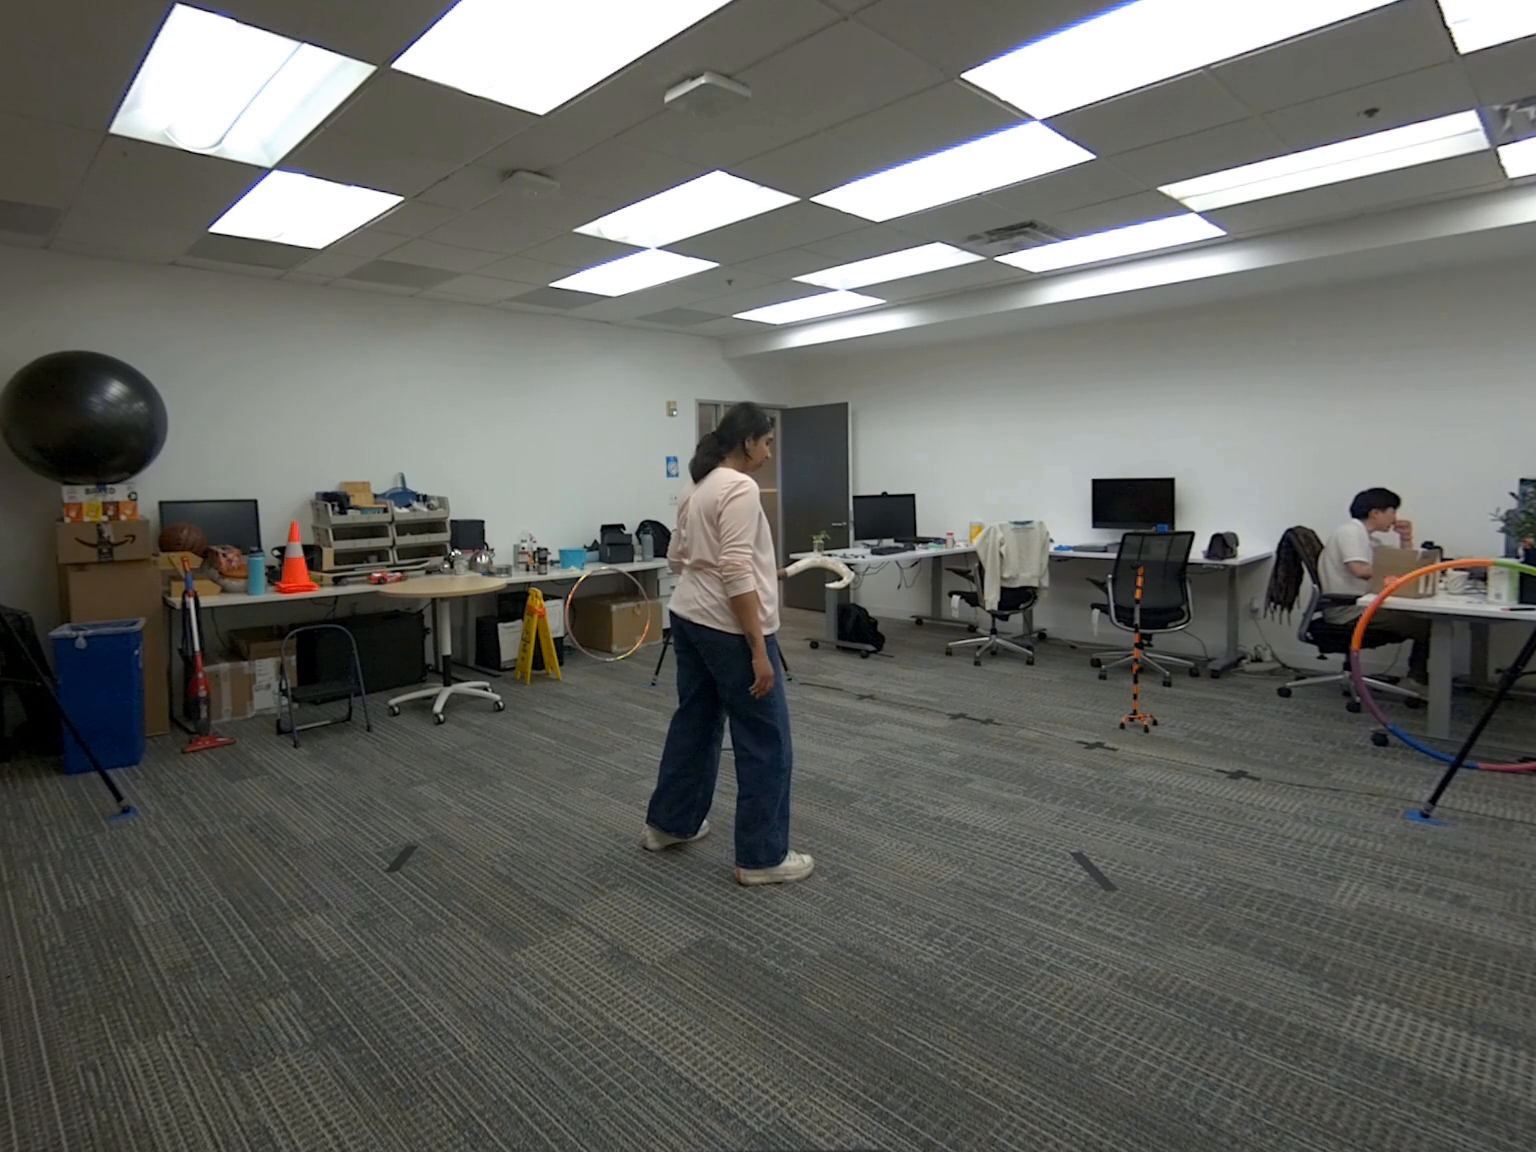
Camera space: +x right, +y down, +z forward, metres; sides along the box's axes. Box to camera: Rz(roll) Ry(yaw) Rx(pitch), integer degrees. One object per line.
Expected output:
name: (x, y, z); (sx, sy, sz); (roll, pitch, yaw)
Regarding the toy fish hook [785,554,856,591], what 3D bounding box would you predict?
toy fish hook: (0.124, 0.004, 3.406); (0.496, 0.047, 0.233); (-12, 30, -33)
